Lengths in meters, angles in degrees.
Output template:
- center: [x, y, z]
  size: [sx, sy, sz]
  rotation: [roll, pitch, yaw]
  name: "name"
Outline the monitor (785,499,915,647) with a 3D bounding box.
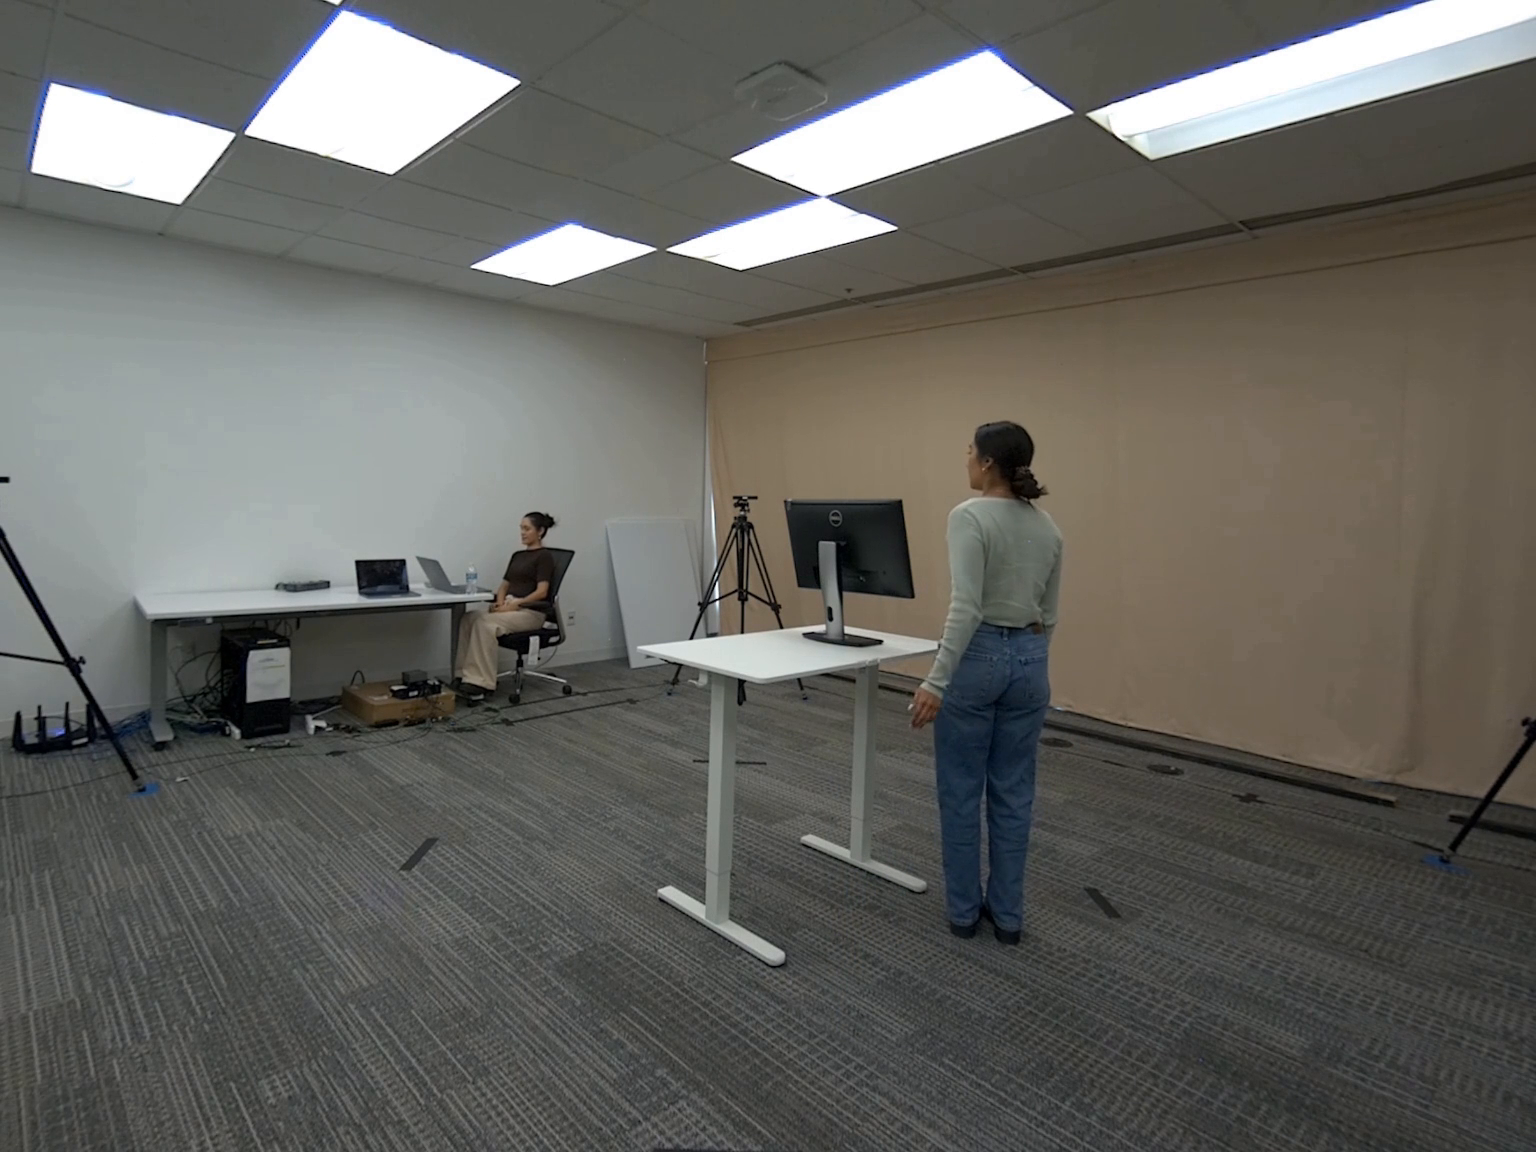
- center: [0.259, -0.015, 3.043]
  size: [0.553, 0.521, 0.183]
  rotation: [4, 6, 44]
  name: "monitor"
